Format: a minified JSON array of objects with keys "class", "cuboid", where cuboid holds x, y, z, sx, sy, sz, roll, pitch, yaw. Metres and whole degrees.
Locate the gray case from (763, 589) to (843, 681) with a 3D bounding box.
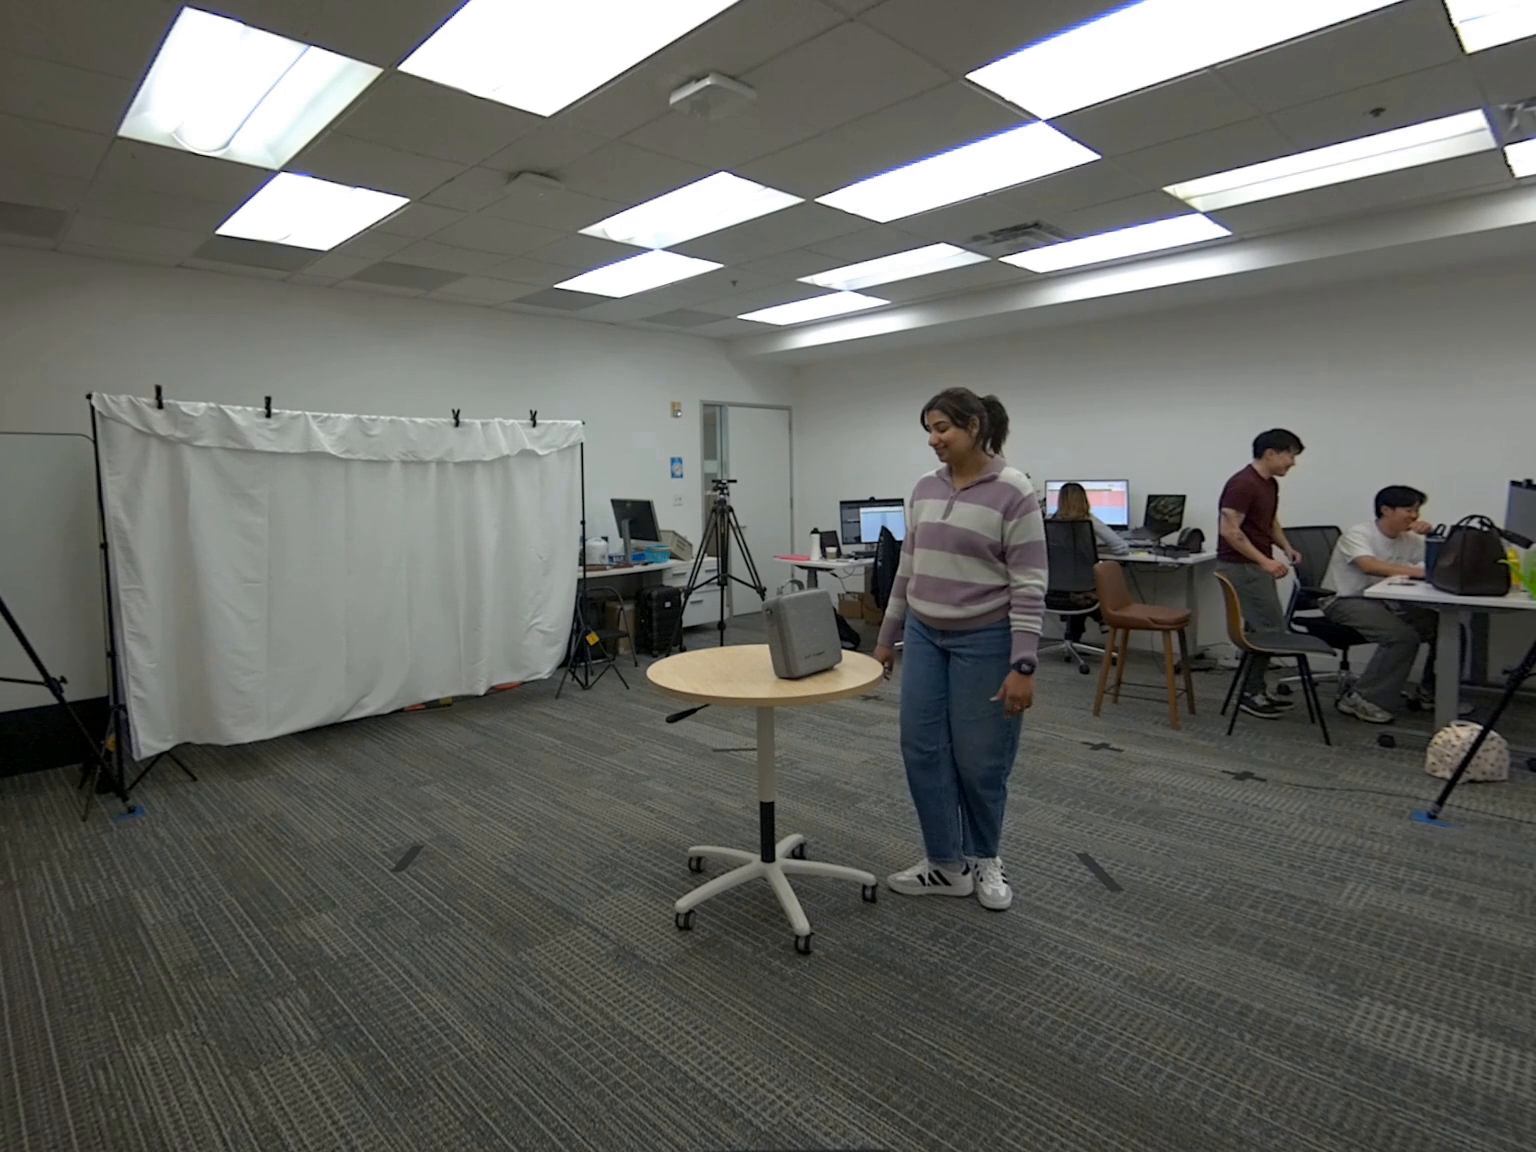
[{"class":"gray case","cuboid":[0.111,0.173,2.692,0.106,0.262,0.250,-15,-6,41]}]
